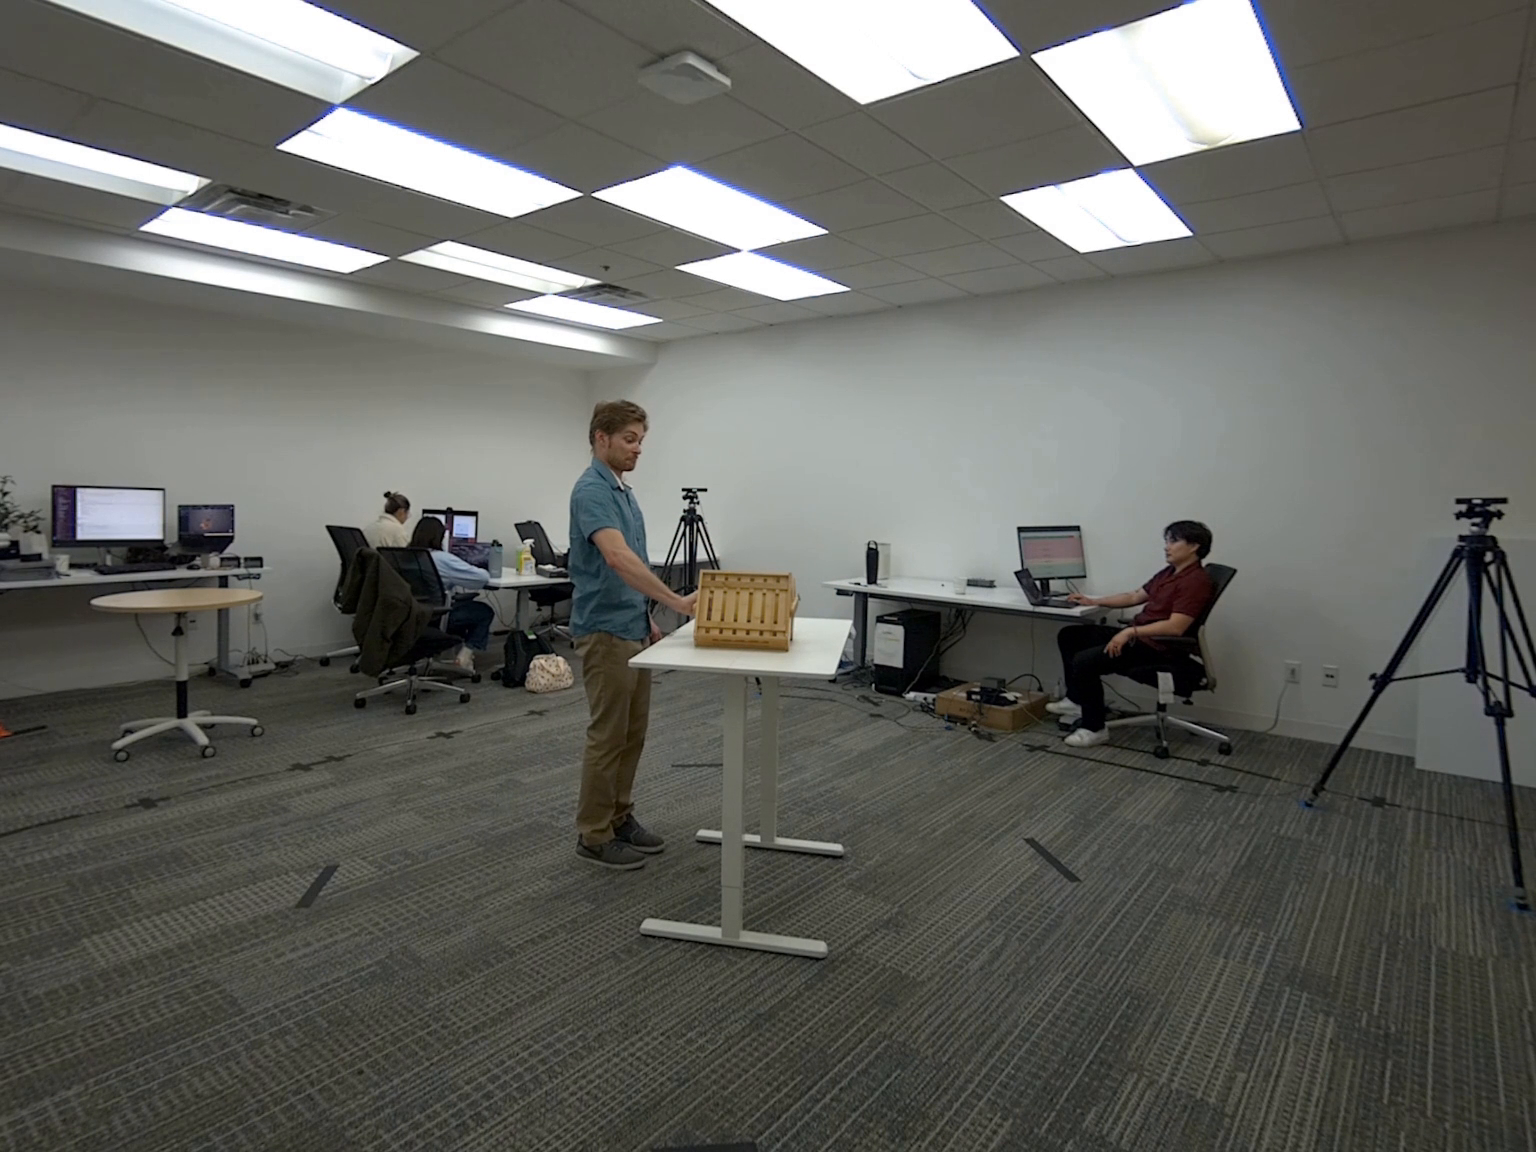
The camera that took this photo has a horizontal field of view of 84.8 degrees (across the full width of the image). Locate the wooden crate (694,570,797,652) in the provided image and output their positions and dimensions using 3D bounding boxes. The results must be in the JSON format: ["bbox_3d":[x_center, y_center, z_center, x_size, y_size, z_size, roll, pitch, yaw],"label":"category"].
[{"bbox_3d":[-0.075,0.123,2.848,0.327,0.308,0.266,1,-22,7],"label":"wooden crate"}]
